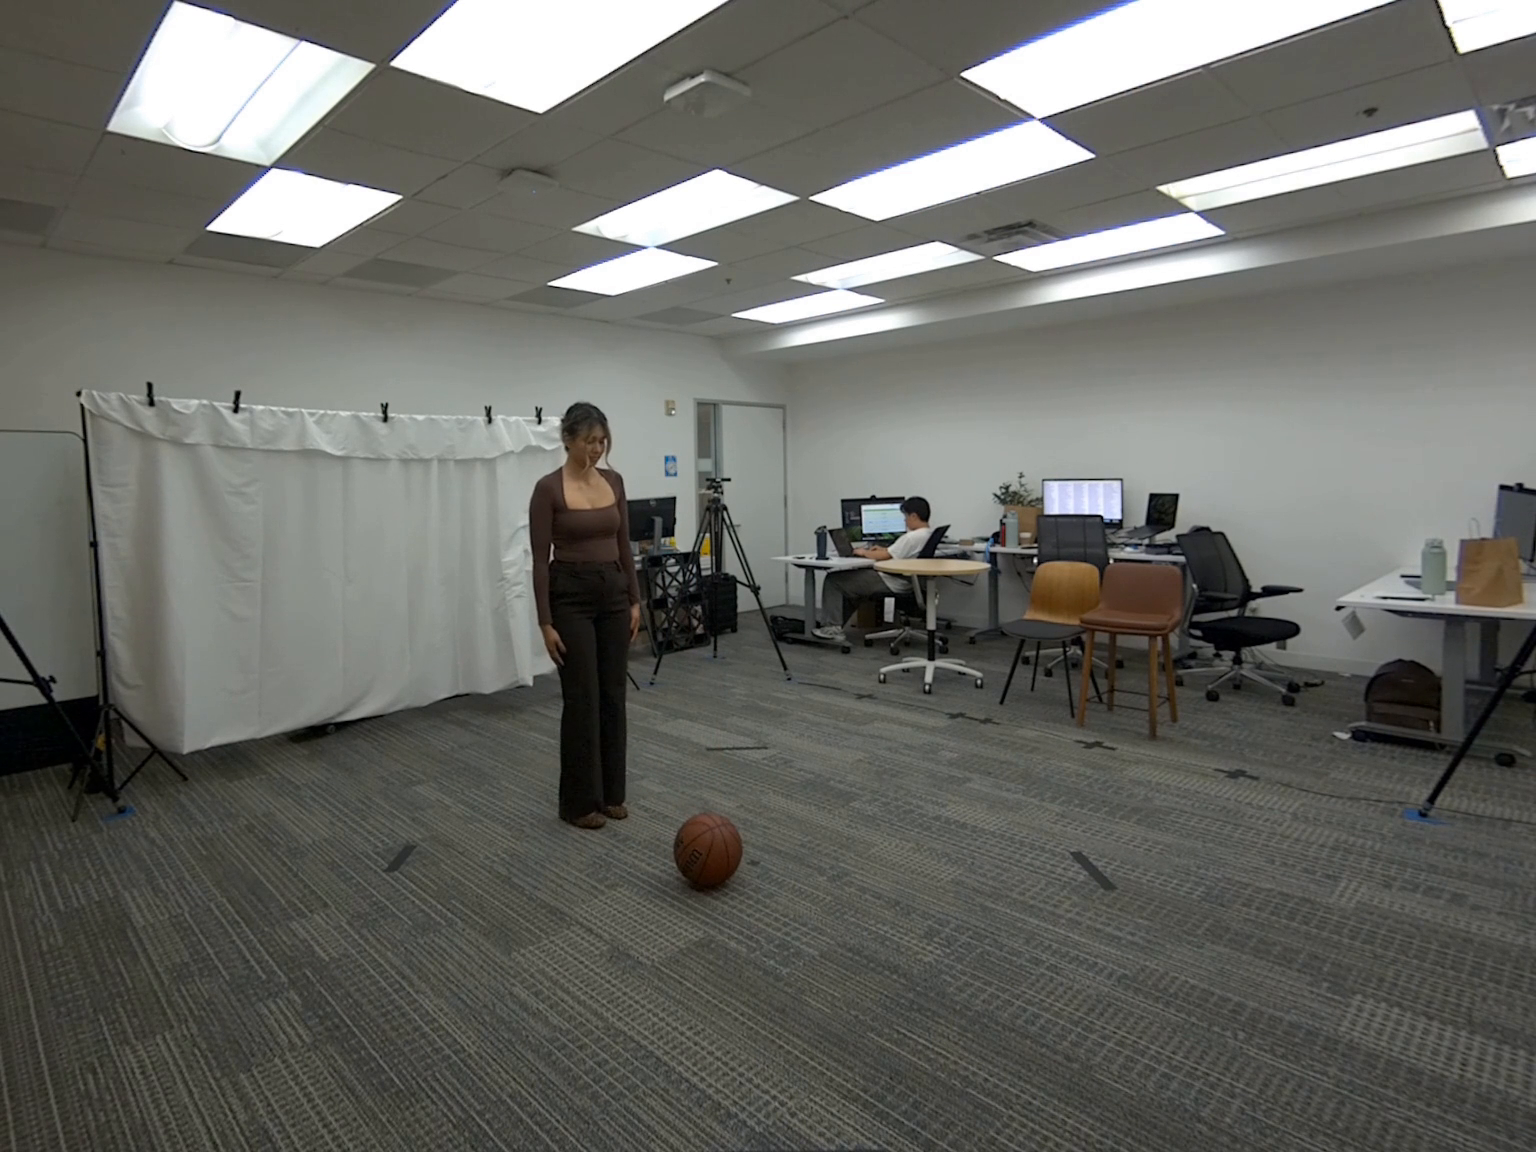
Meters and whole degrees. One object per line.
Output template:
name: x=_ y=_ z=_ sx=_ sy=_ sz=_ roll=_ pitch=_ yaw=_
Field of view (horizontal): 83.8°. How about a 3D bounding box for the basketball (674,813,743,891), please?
basketball: x=-0.205 y=0.941 z=2.949 sx=0.236 sy=0.235 sz=0.237 roll=-1 pitch=5 yaw=-2
